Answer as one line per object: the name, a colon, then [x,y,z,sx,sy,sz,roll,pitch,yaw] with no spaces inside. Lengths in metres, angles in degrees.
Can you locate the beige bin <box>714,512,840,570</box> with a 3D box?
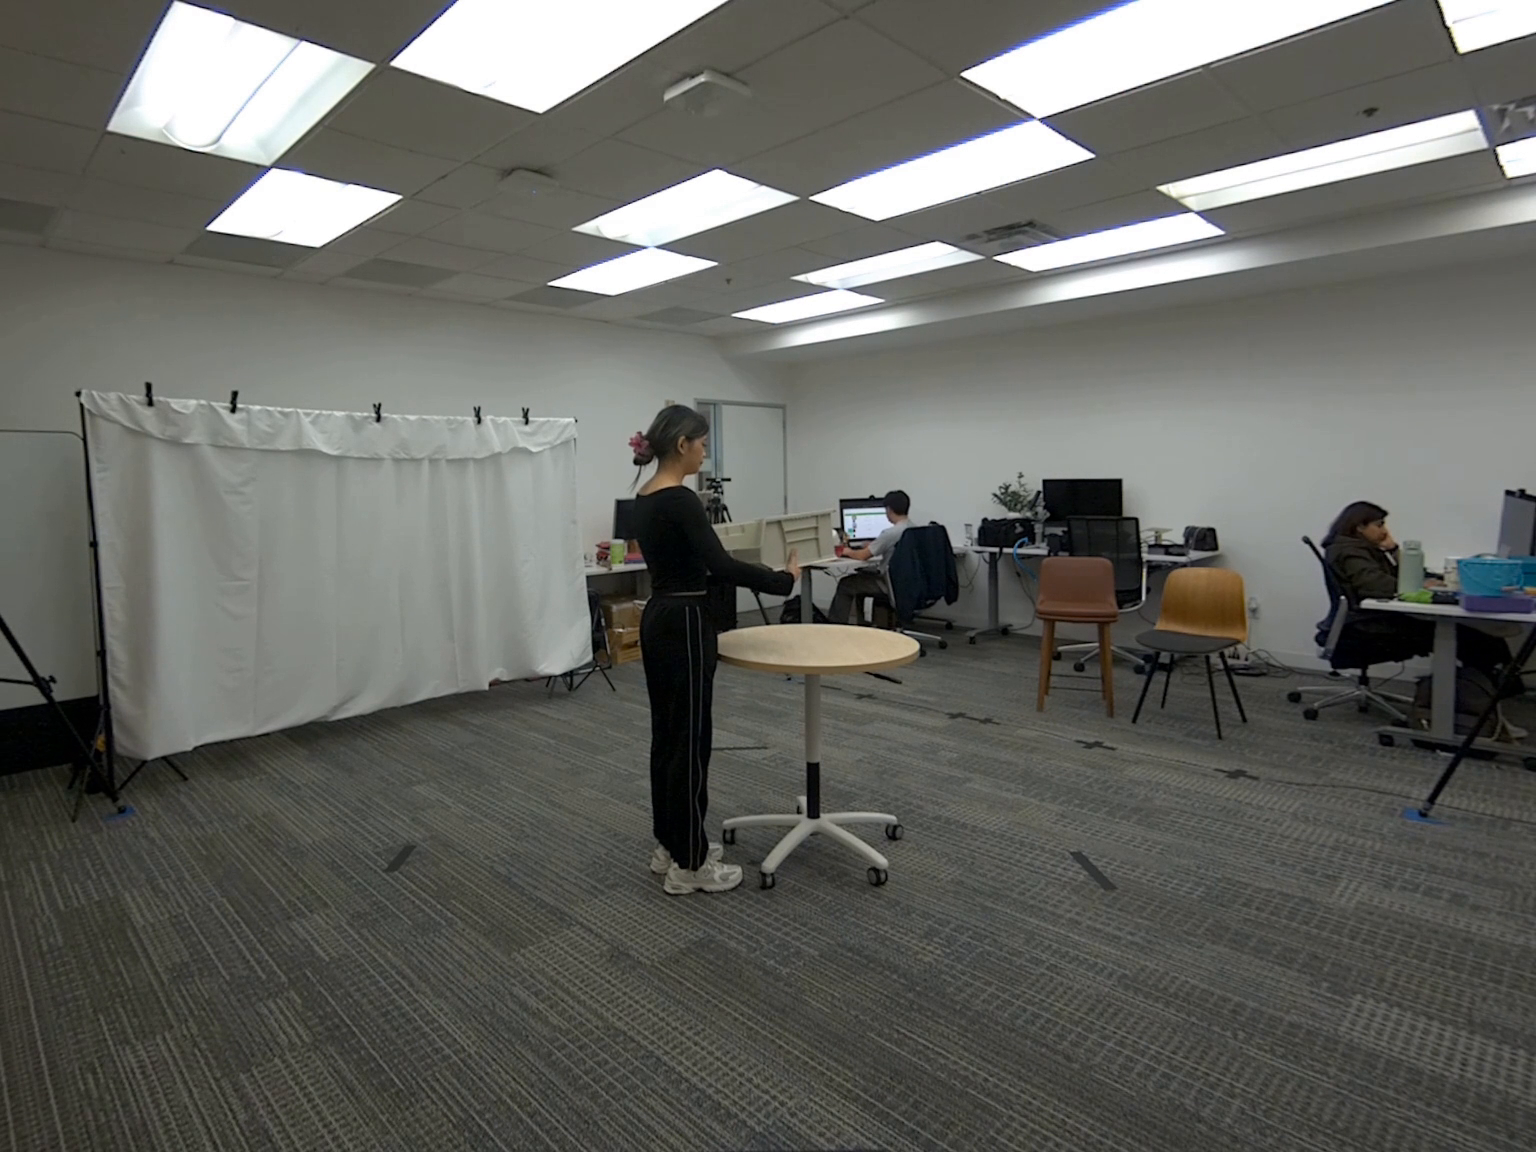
beige bin: [-0.025,-0.111,3.079,0.368,0.189,0.433,-9,4,-41]
